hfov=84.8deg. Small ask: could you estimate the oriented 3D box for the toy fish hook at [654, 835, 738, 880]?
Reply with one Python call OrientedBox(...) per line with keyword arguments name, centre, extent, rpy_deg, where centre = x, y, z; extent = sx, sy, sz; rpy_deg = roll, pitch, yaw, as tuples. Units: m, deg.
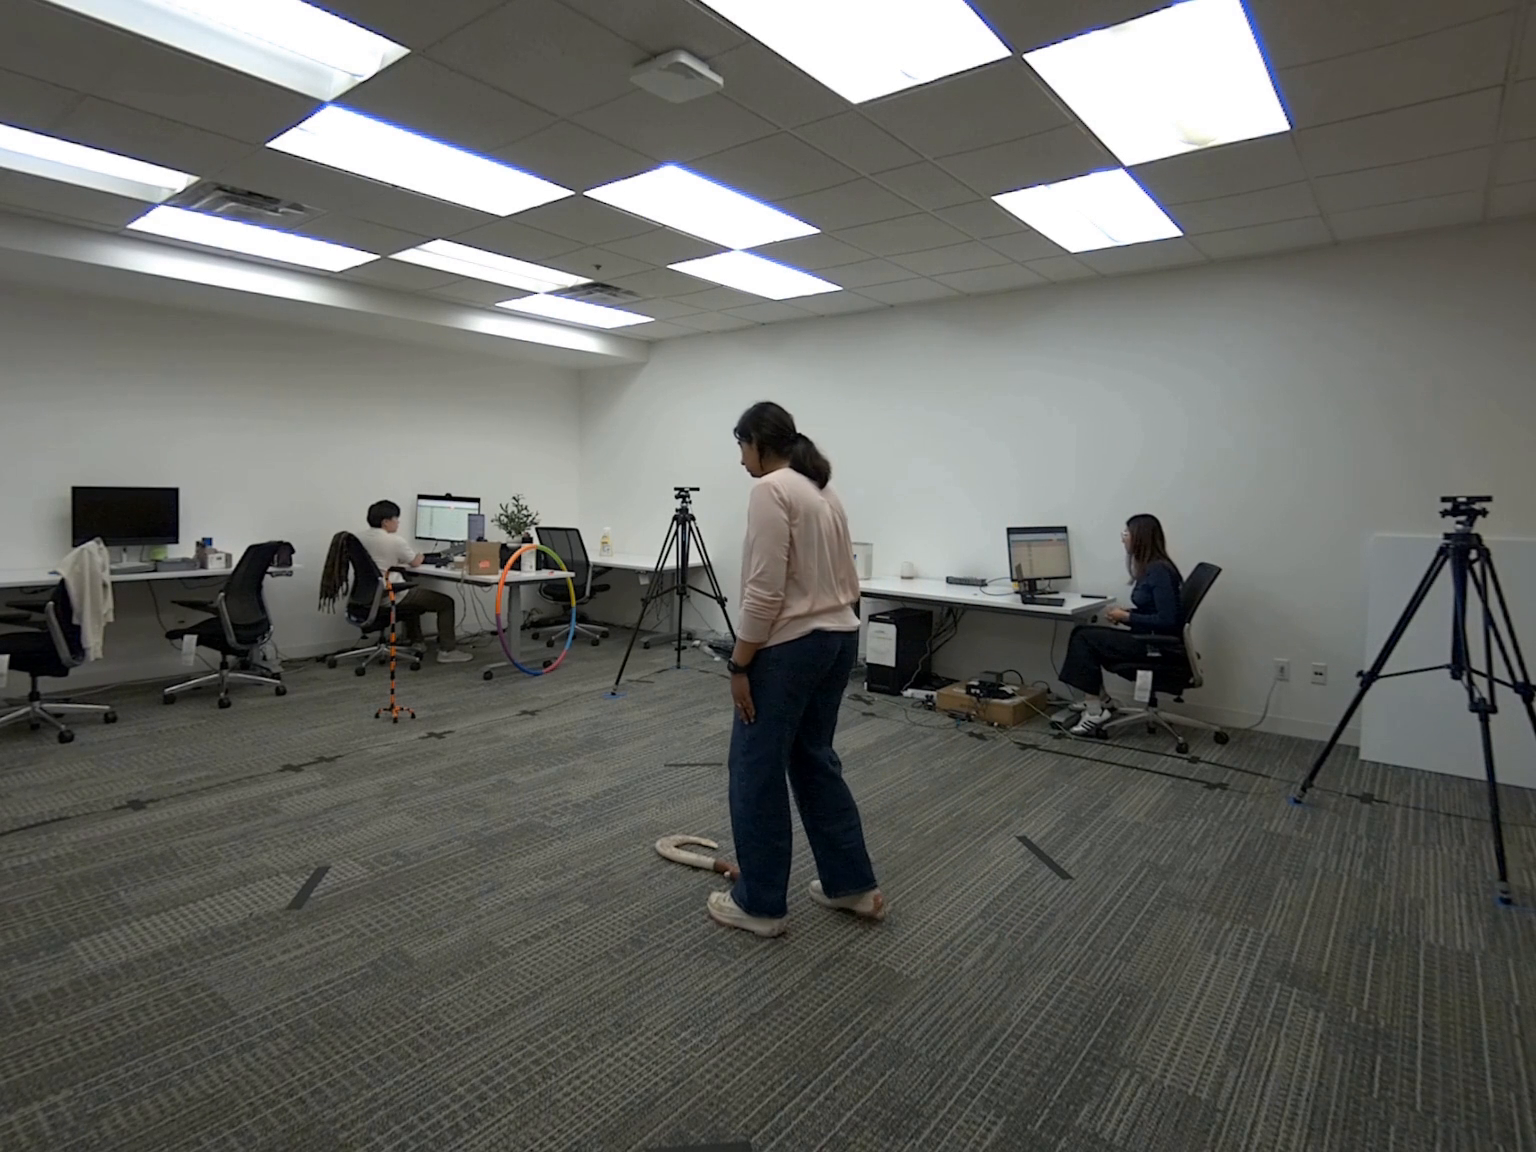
OrientedBox(name="toy fish hook", centre=(-0.211, 1.040, 3.155), extent=(0.524, 0.048, 0.218), rpy_deg=(6, 9, 41))
